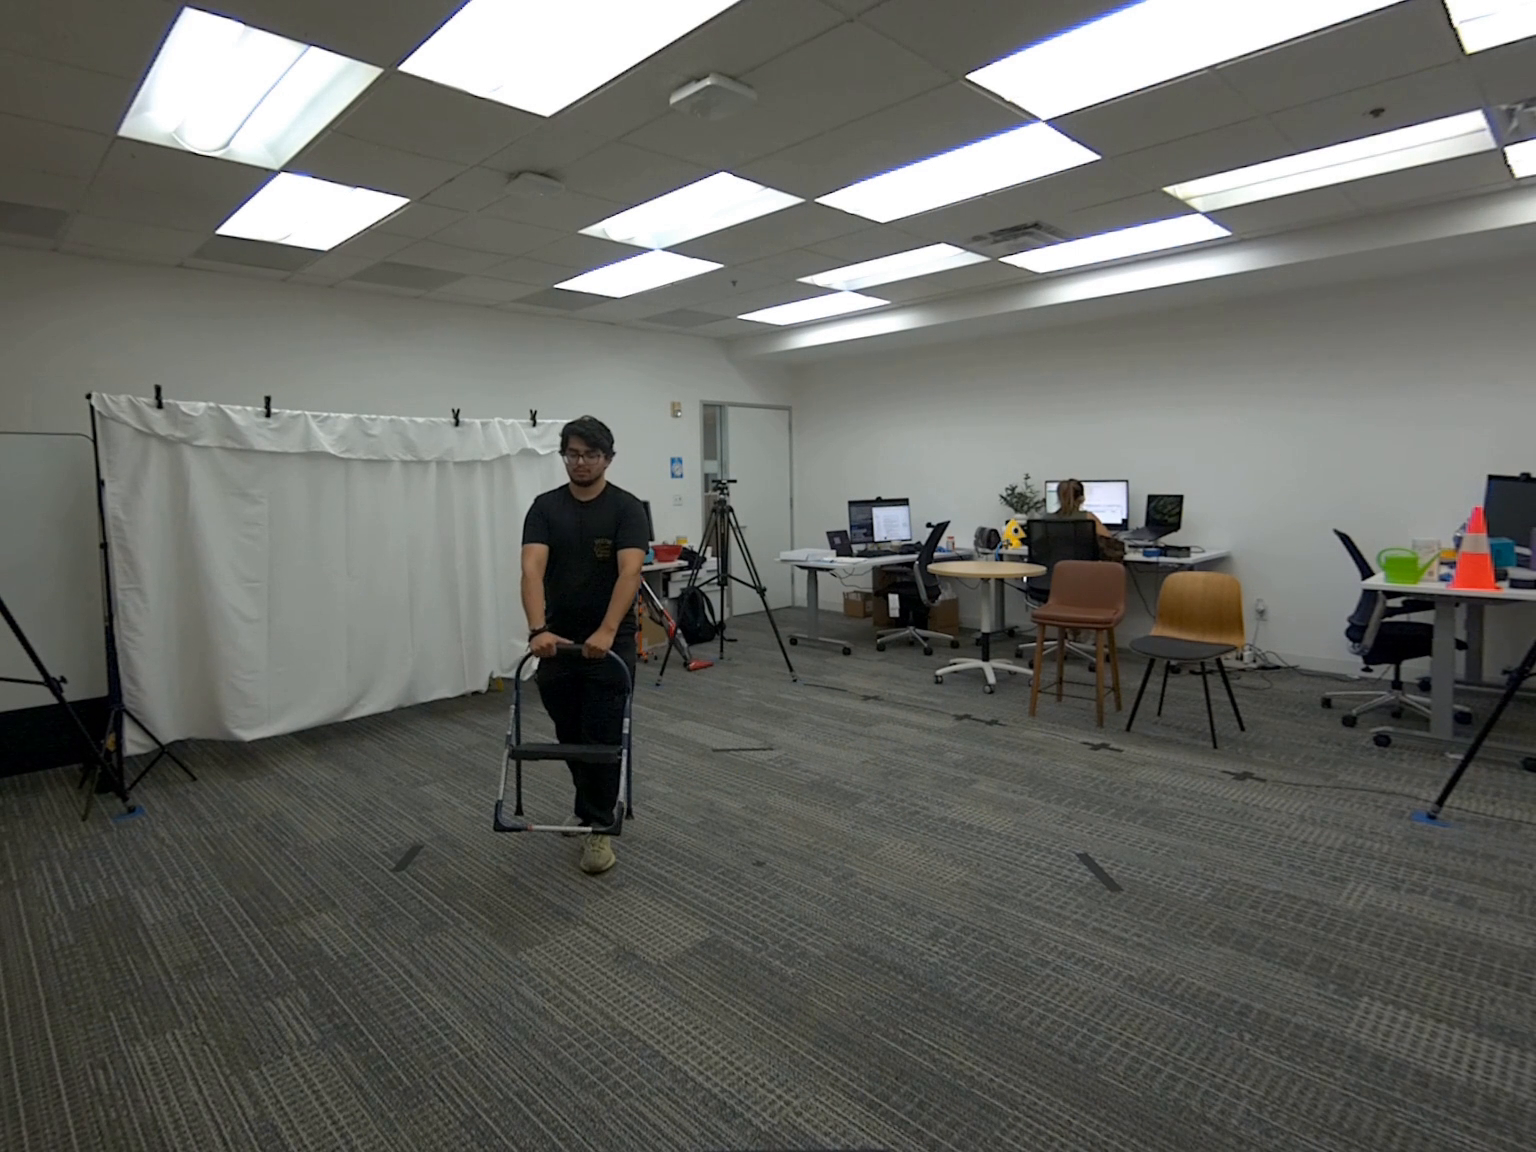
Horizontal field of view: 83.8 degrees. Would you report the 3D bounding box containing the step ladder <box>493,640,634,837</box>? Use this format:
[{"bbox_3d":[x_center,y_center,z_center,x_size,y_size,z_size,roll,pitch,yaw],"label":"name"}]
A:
[{"bbox_3d":[-0.683,0.552,2.950,0.430,0.610,0.347,2,-7,-2],"label":"step ladder"}]
